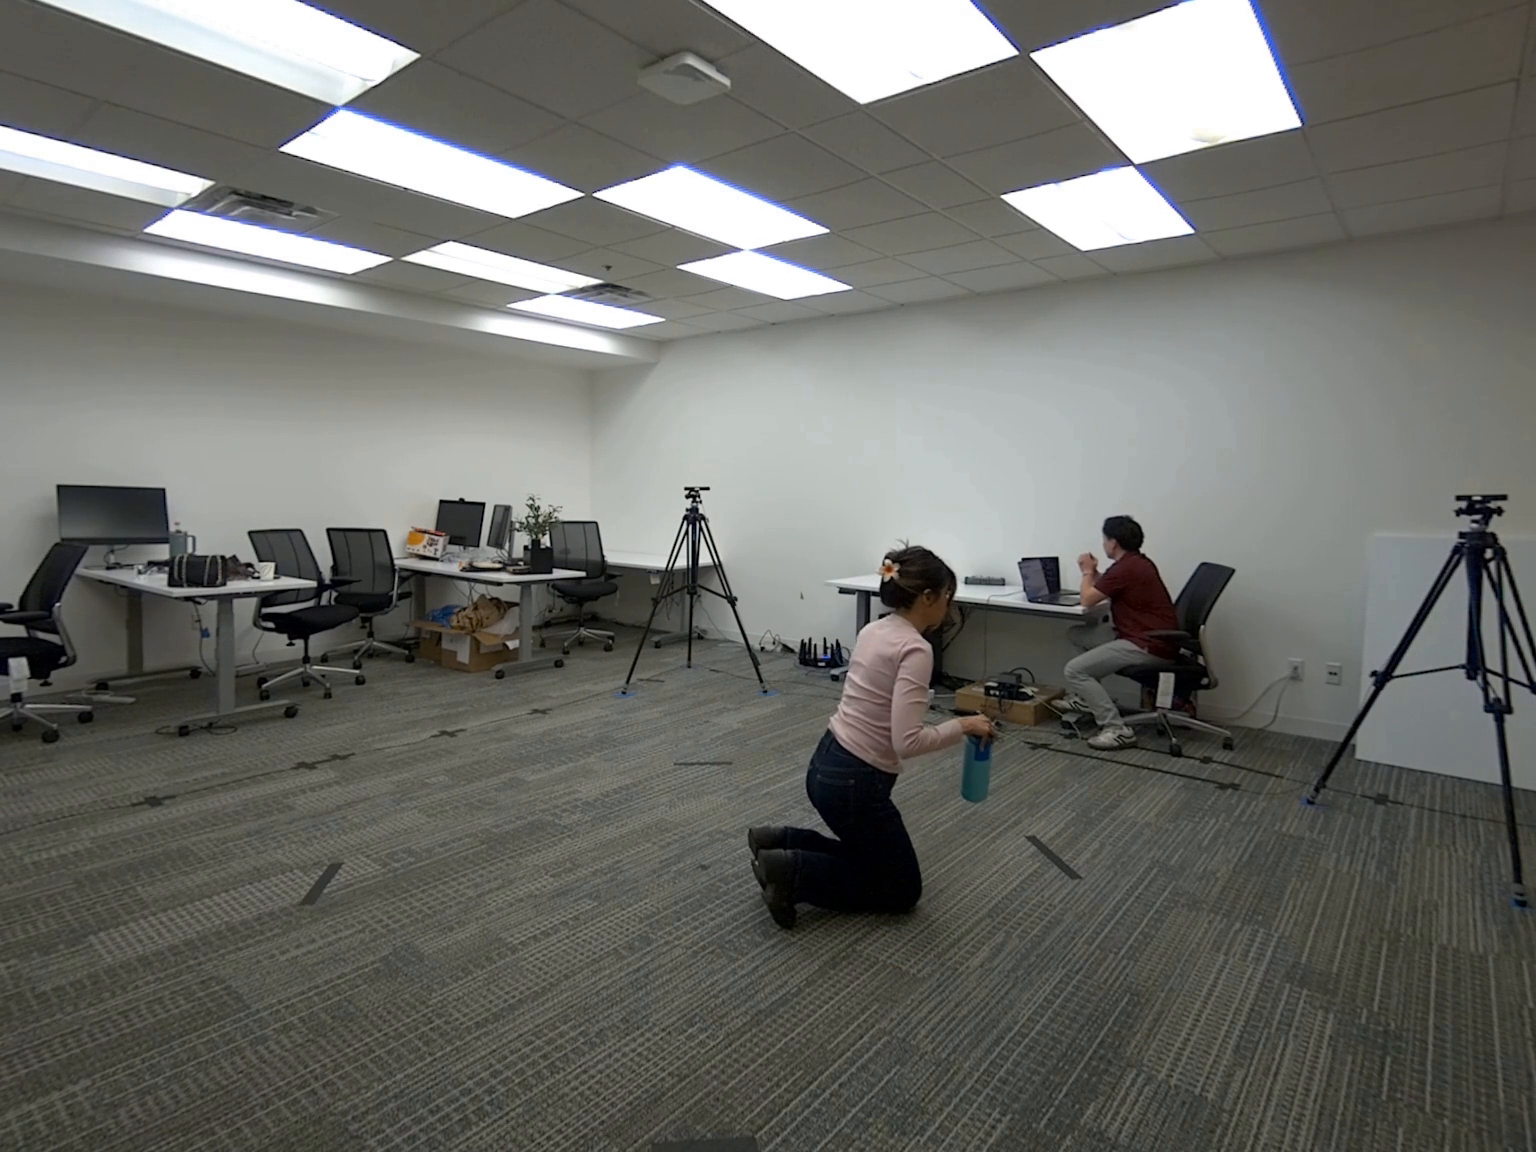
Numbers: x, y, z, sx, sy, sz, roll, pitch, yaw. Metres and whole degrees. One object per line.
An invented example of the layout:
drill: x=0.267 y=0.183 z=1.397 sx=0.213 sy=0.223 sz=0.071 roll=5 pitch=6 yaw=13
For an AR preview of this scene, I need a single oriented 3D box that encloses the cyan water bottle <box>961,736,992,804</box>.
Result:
cyan water bottle: x=0.681 y=0.601 z=2.776 sx=0.092 sy=0.278 sz=0.094 roll=-2 pitch=22 yaw=-1
